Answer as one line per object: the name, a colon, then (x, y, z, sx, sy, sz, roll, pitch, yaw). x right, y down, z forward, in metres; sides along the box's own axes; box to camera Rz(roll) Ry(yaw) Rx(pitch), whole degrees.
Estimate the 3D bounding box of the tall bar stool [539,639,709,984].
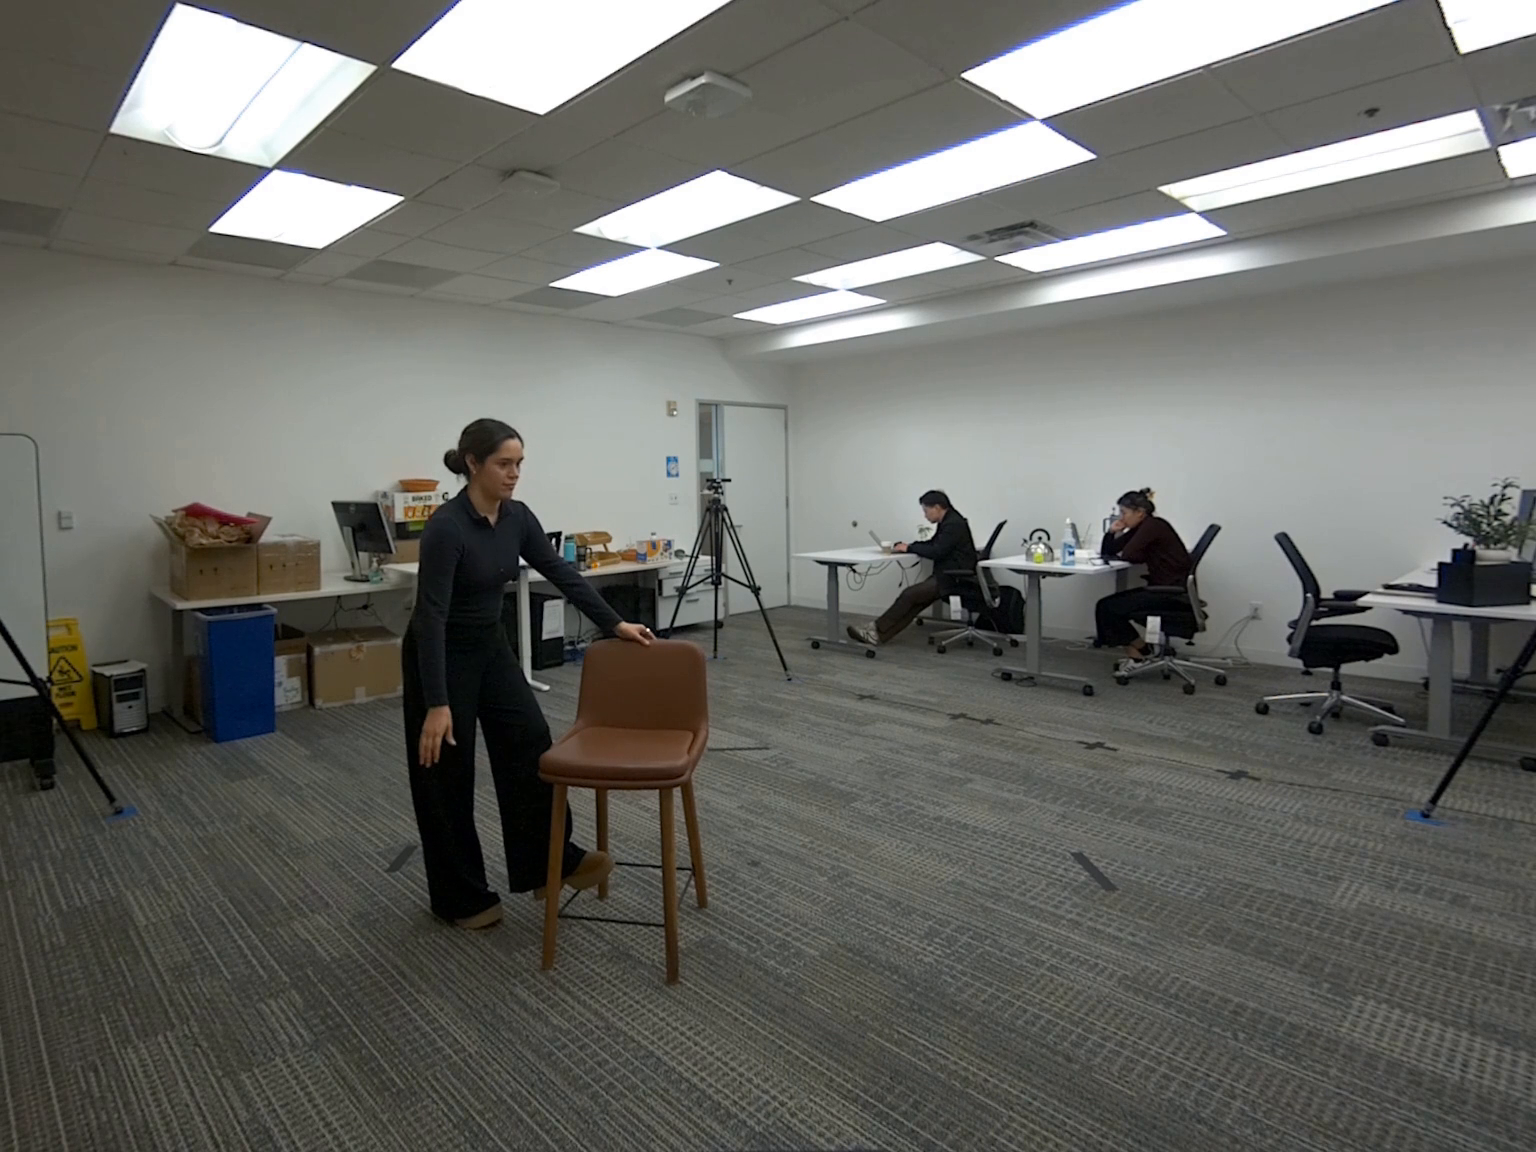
tall bar stool: (-0.421, 0.671, 2.611, 0.462, 0.888, 0.463, 0, 3, 11)
